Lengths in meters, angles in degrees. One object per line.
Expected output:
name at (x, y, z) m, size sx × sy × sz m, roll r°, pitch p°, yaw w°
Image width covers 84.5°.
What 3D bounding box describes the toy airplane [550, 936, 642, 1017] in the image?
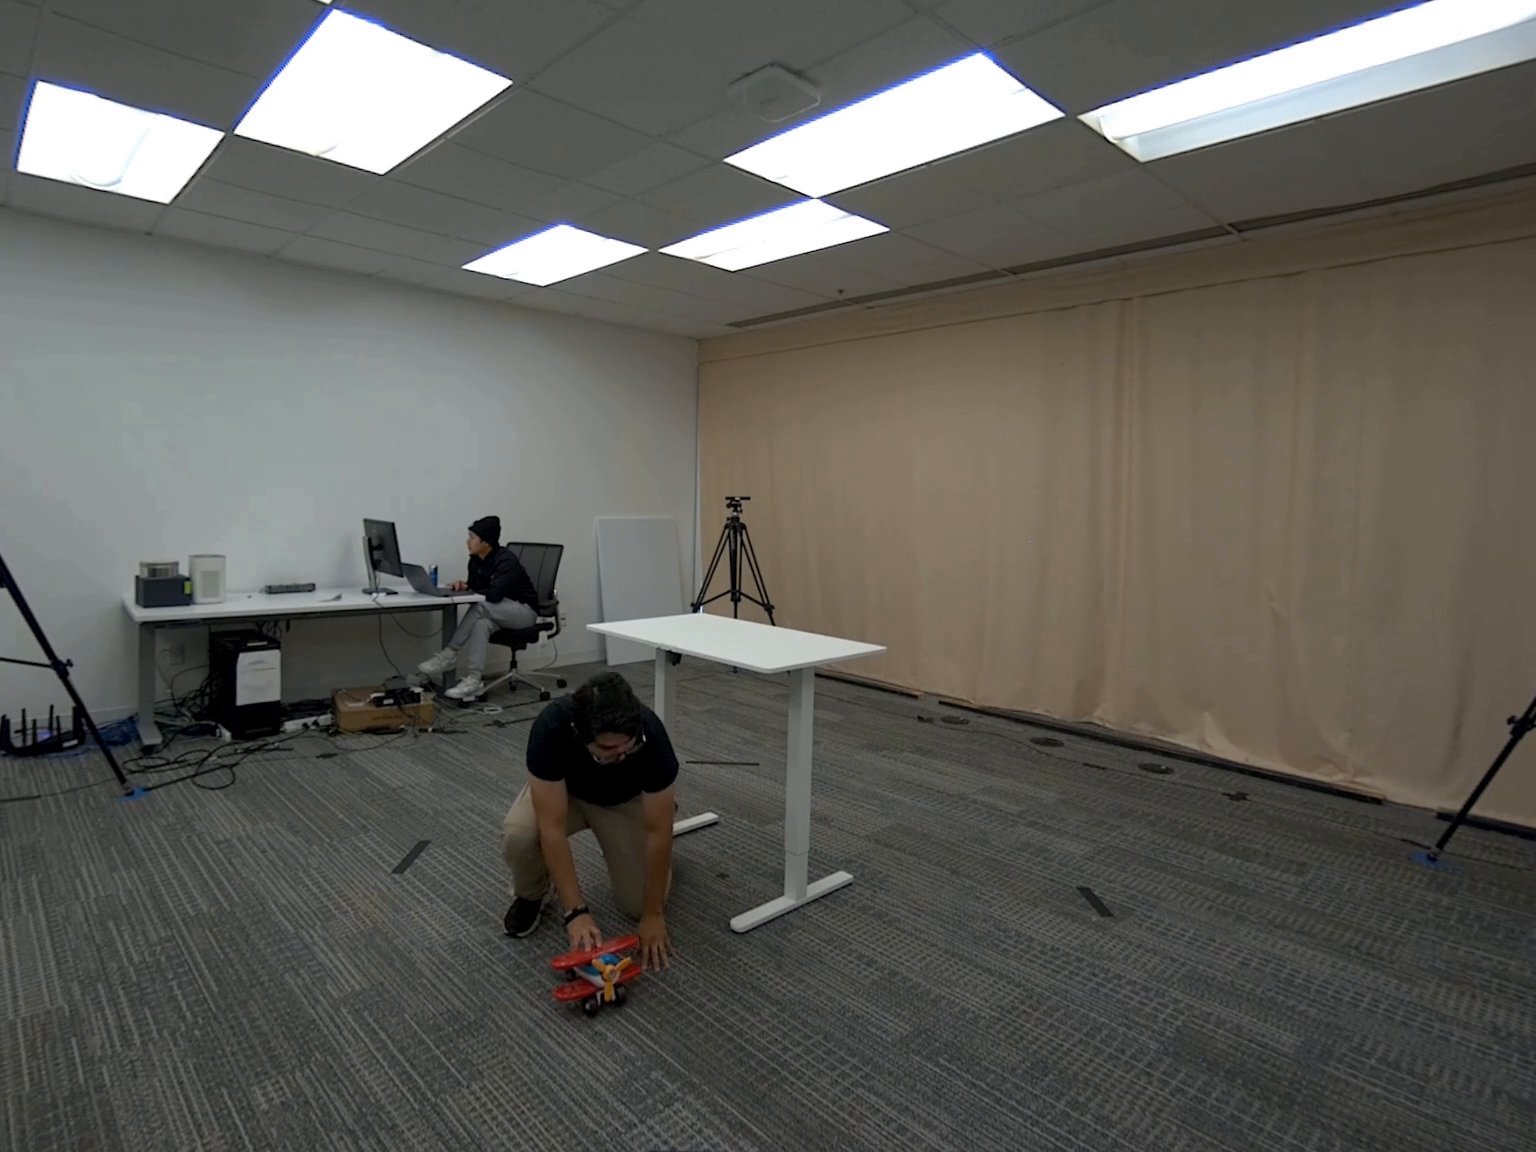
toy airplane at (-0.521, 1.099, 2.331) m, size 0.264 × 0.156 × 0.247 m, roll 5°, pitch 6°, yaw 23°
